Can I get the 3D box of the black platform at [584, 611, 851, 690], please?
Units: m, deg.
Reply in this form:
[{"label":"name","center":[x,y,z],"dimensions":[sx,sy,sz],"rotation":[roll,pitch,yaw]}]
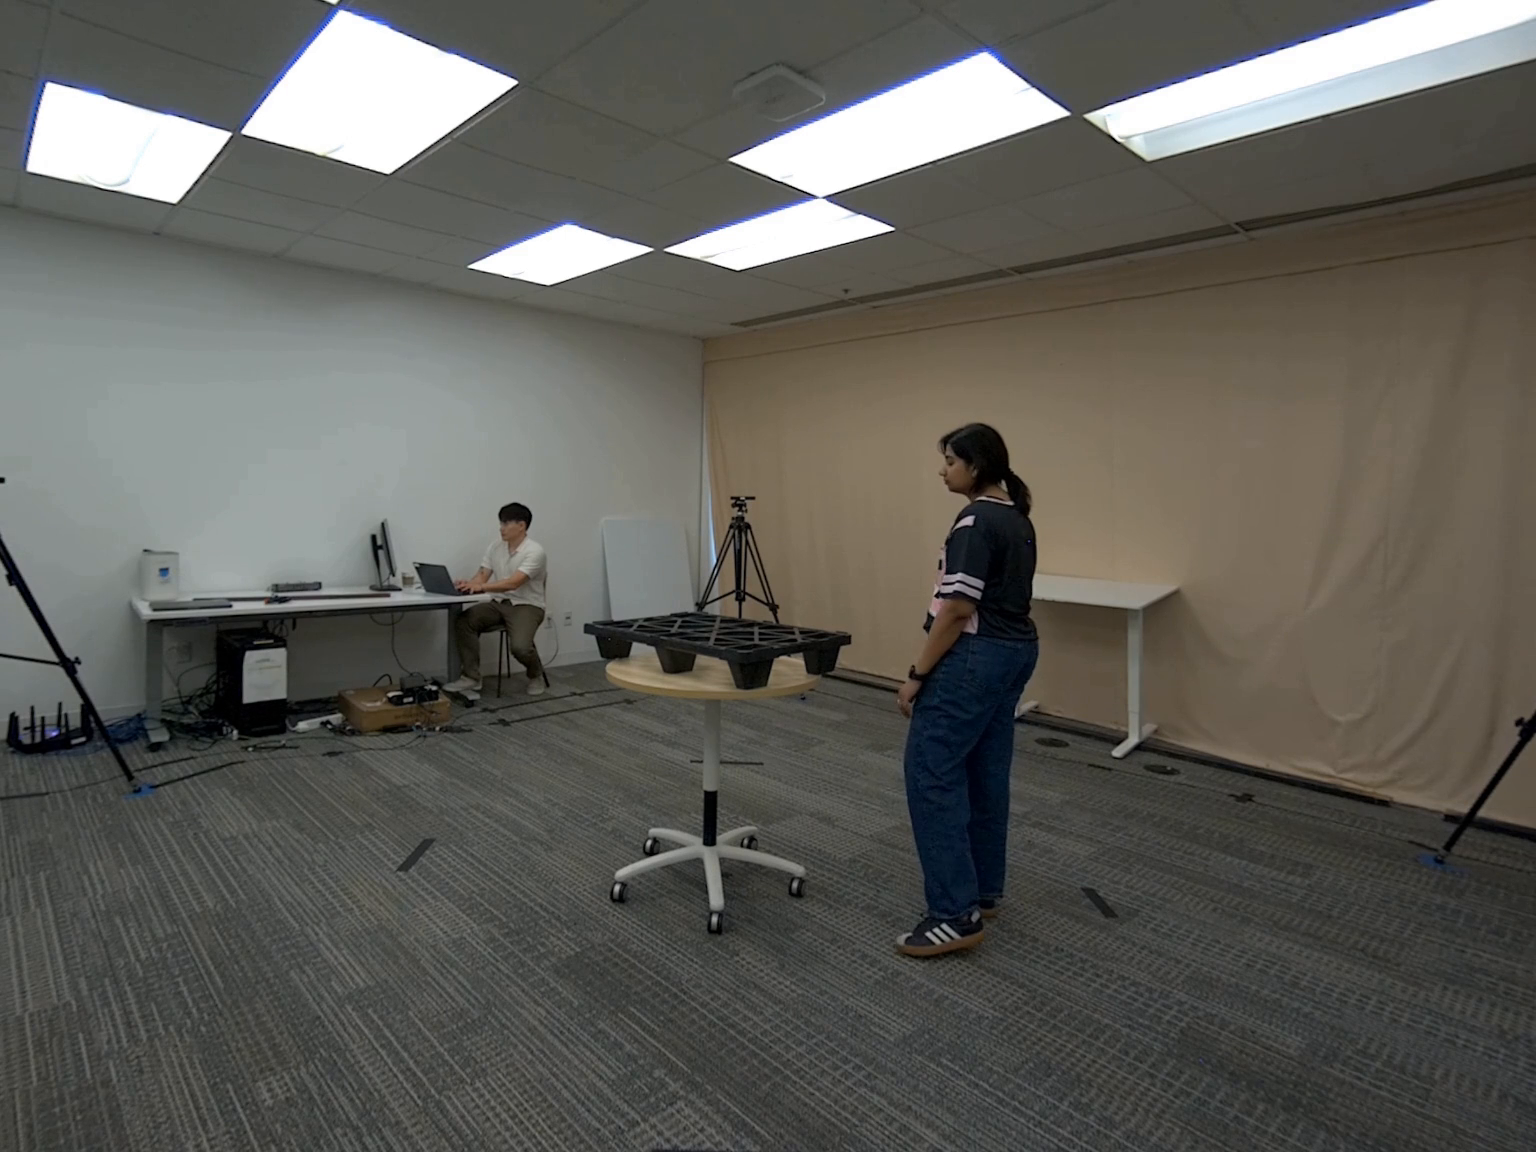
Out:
[{"label":"black platform","center":[-0.192,0.261,3.069],"dimensions":[0.826,0.143,0.591],"rotation":[6,6,41]}]
